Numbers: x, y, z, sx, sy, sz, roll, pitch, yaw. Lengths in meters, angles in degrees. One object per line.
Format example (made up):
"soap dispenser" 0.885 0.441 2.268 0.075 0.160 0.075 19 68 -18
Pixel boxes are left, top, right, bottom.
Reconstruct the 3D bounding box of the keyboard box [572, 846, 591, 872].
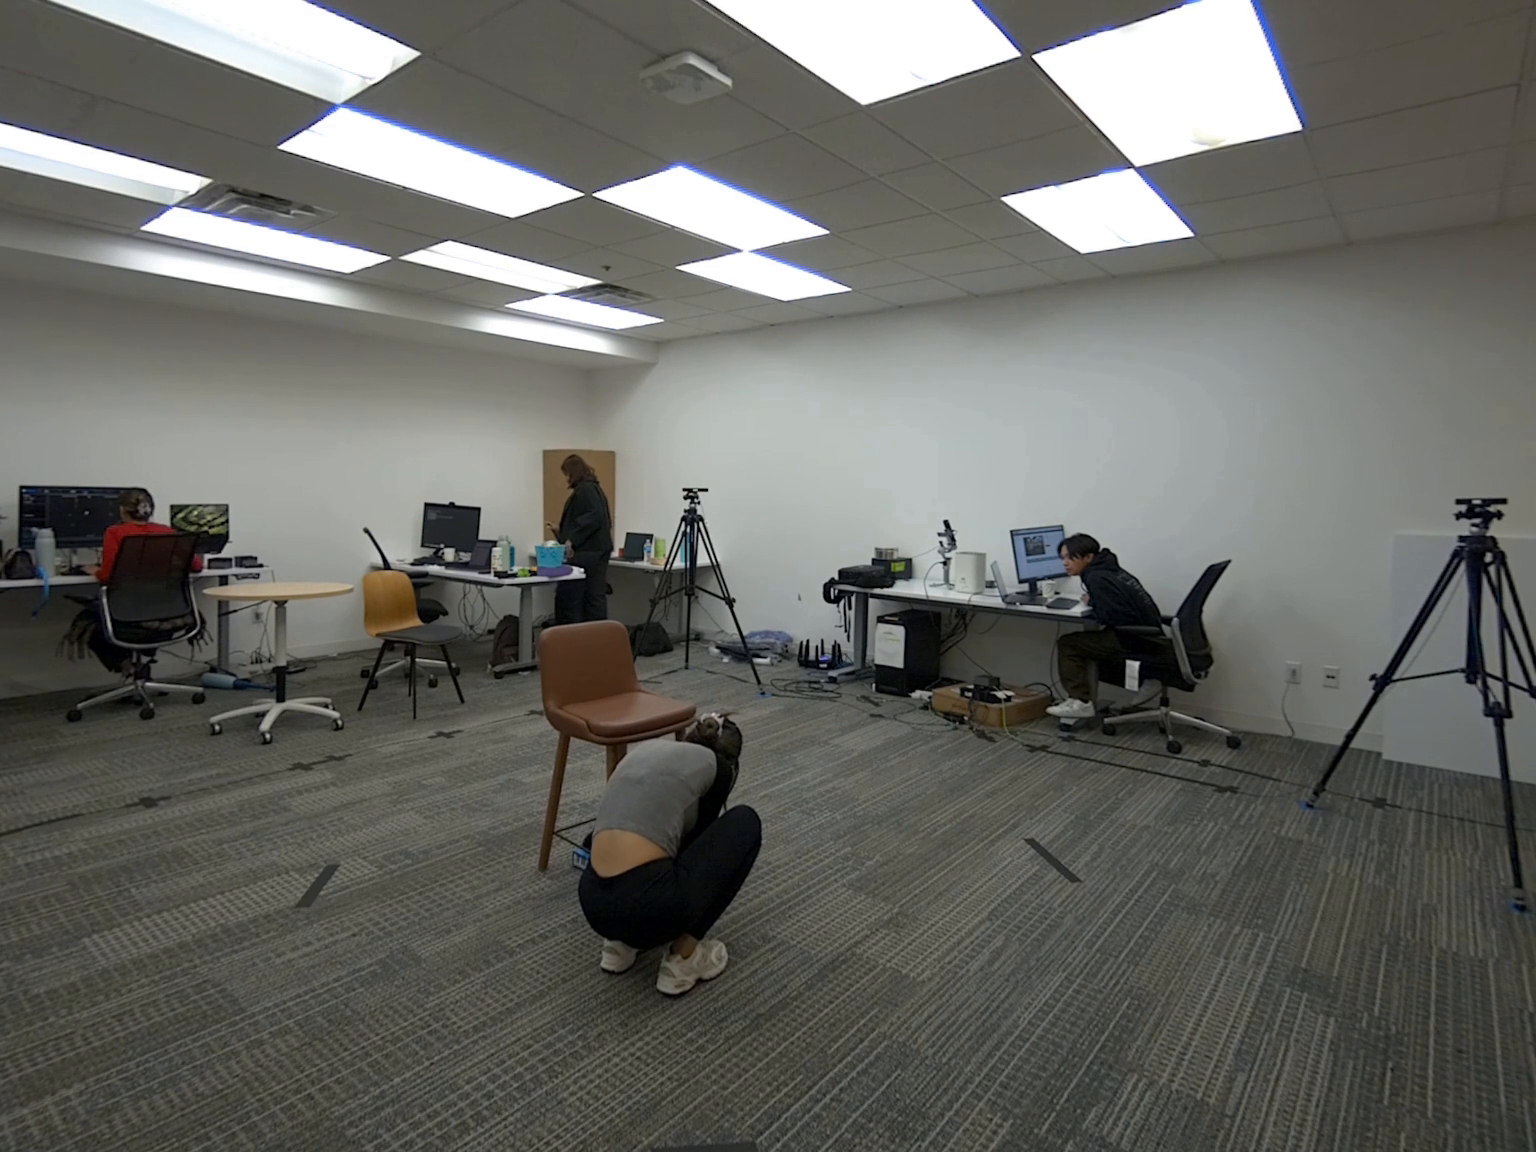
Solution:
"keyboard box" -0.501 1.037 3.022 0.452 0.059 0.171 5 6 42
